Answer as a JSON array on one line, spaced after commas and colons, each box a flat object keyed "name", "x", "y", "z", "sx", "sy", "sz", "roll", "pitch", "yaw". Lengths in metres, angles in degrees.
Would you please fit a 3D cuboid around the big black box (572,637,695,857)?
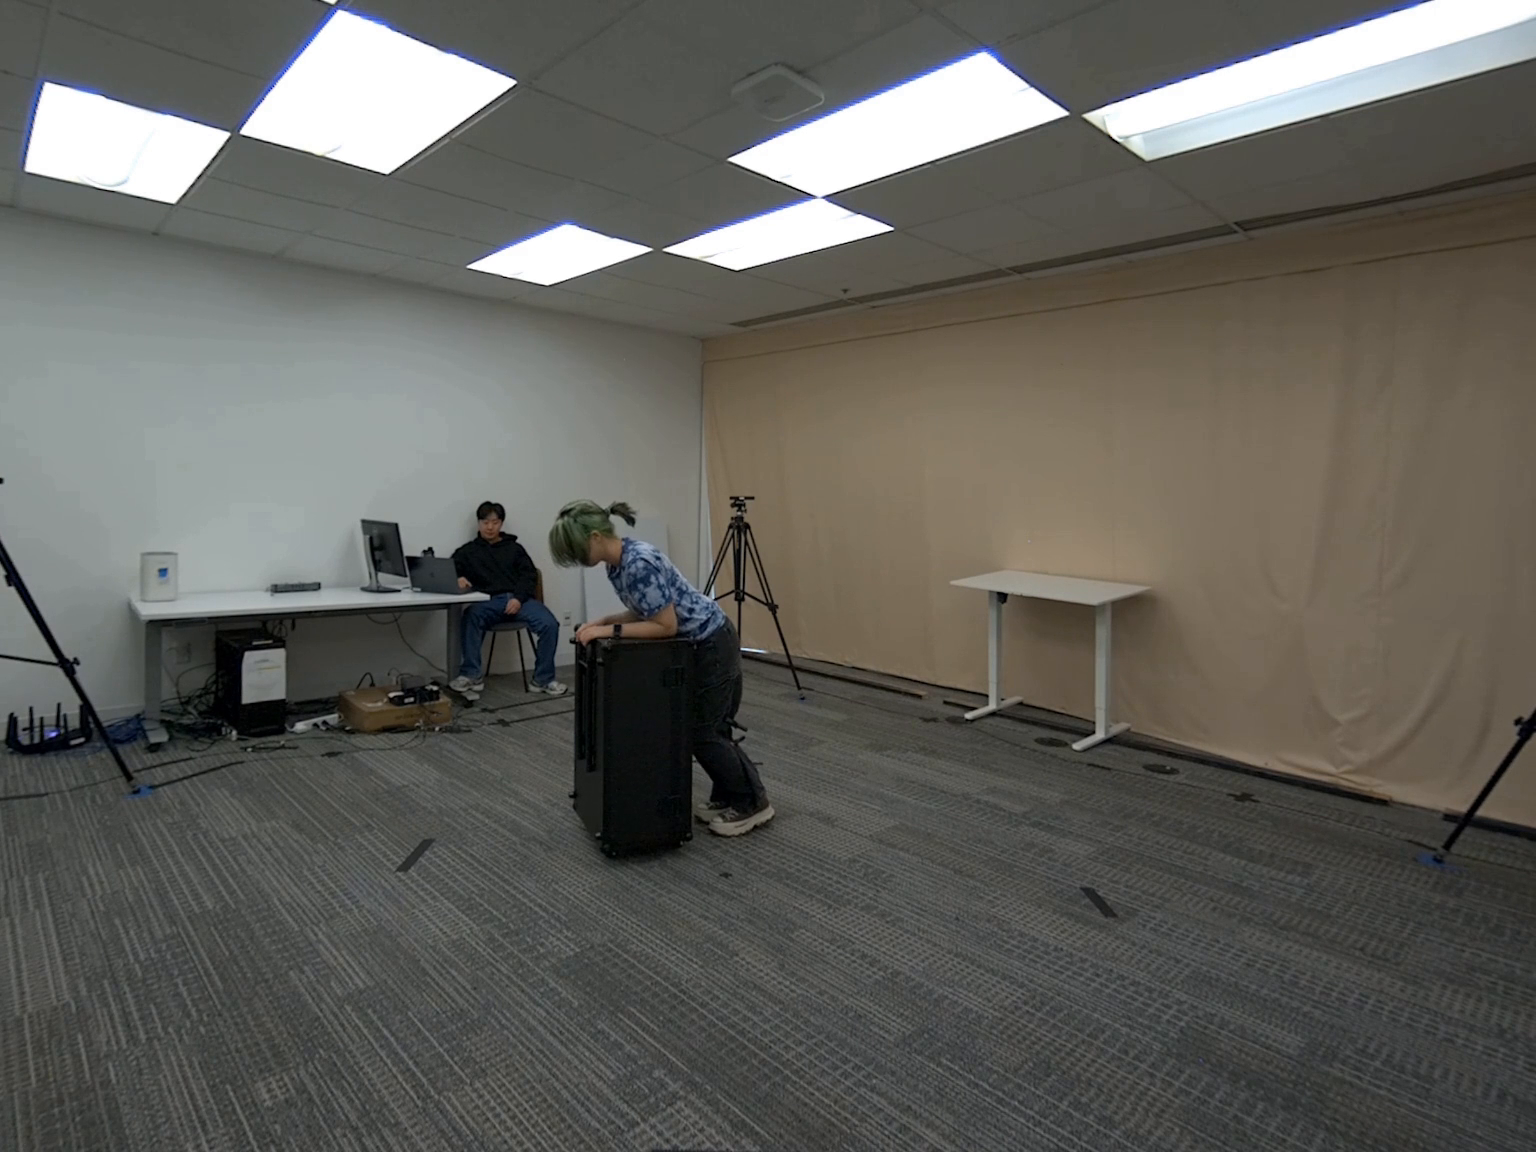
[{"name": "big black box", "x": -0.569, "y": 0.591, "z": 3.362, "sx": 0.389, "sy": 0.859, "sz": 0.532, "roll": 0, "pitch": 4, "yaw": -25}]
